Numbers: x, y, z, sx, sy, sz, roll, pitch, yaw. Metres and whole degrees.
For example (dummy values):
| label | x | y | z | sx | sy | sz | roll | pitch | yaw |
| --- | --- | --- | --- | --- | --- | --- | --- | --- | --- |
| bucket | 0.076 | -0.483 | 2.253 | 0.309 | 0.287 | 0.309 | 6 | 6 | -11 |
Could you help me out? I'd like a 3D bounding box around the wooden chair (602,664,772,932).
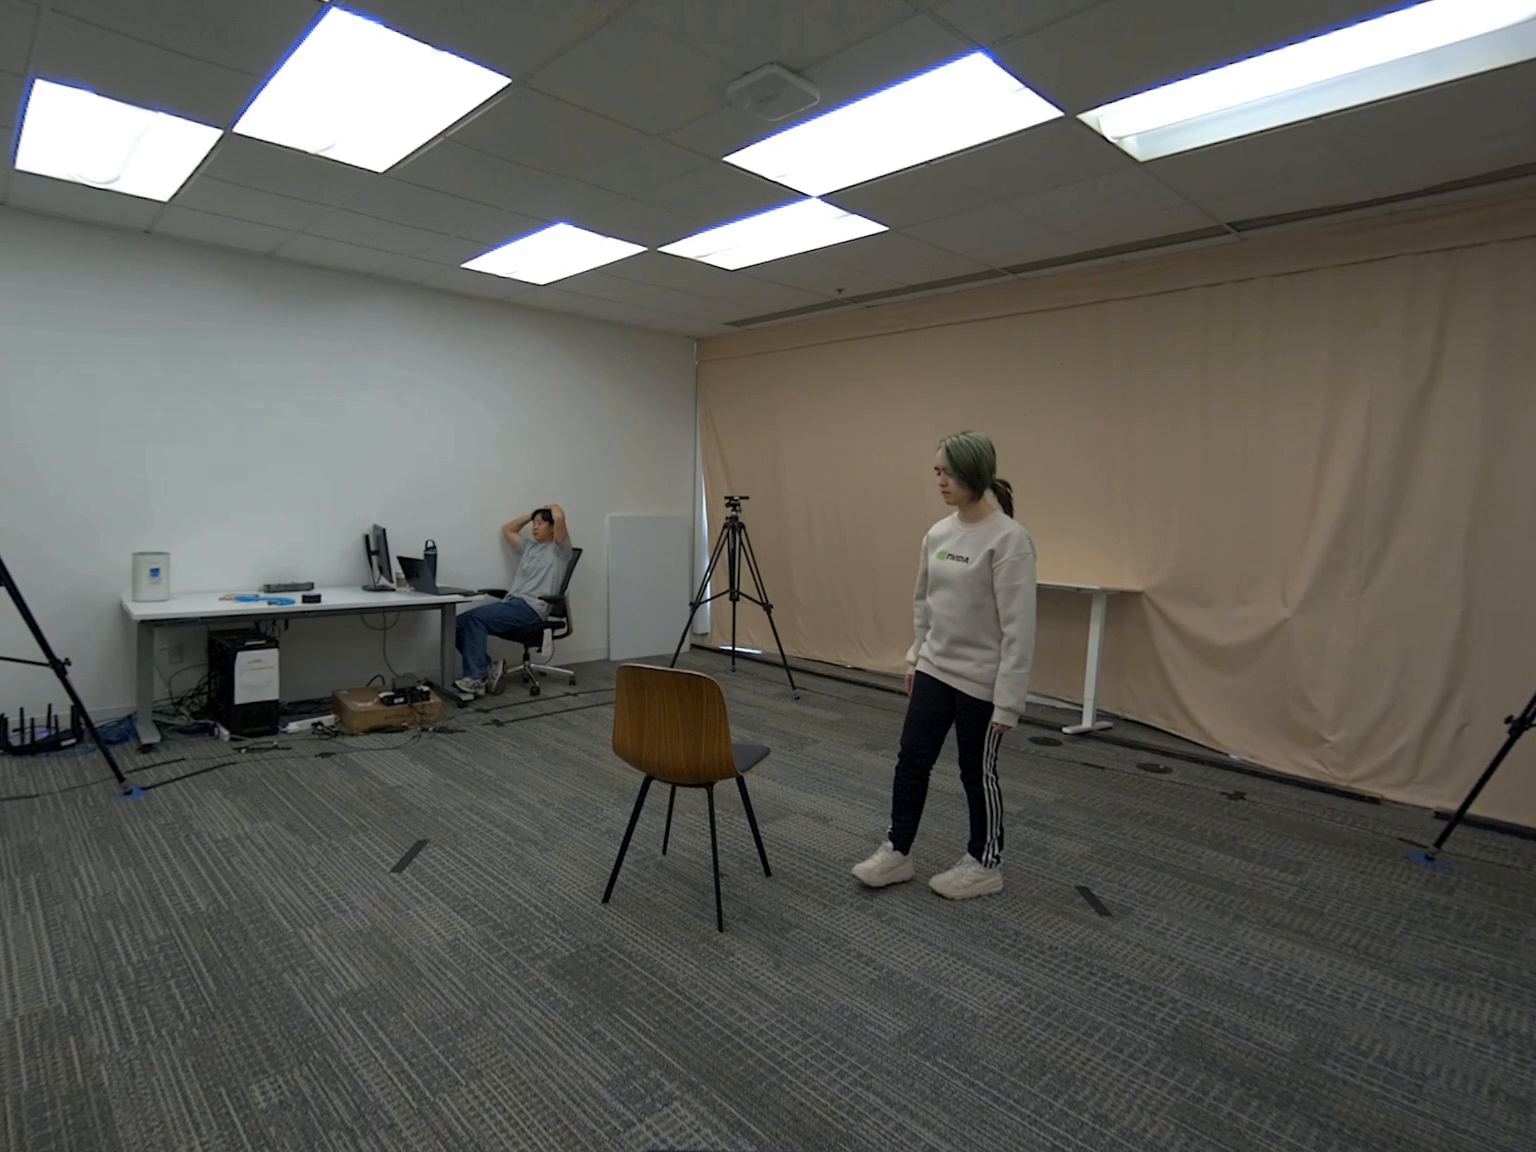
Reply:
| label | x | y | z | sx | sy | sz | roll | pitch | yaw |
| --- | --- | --- | --- | --- | --- | --- | --- | --- | --- |
| wooden chair | -0.266 | 0.682 | 2.966 | 0.487 | 0.873 | 0.516 | 3 | 8 | 23 |
